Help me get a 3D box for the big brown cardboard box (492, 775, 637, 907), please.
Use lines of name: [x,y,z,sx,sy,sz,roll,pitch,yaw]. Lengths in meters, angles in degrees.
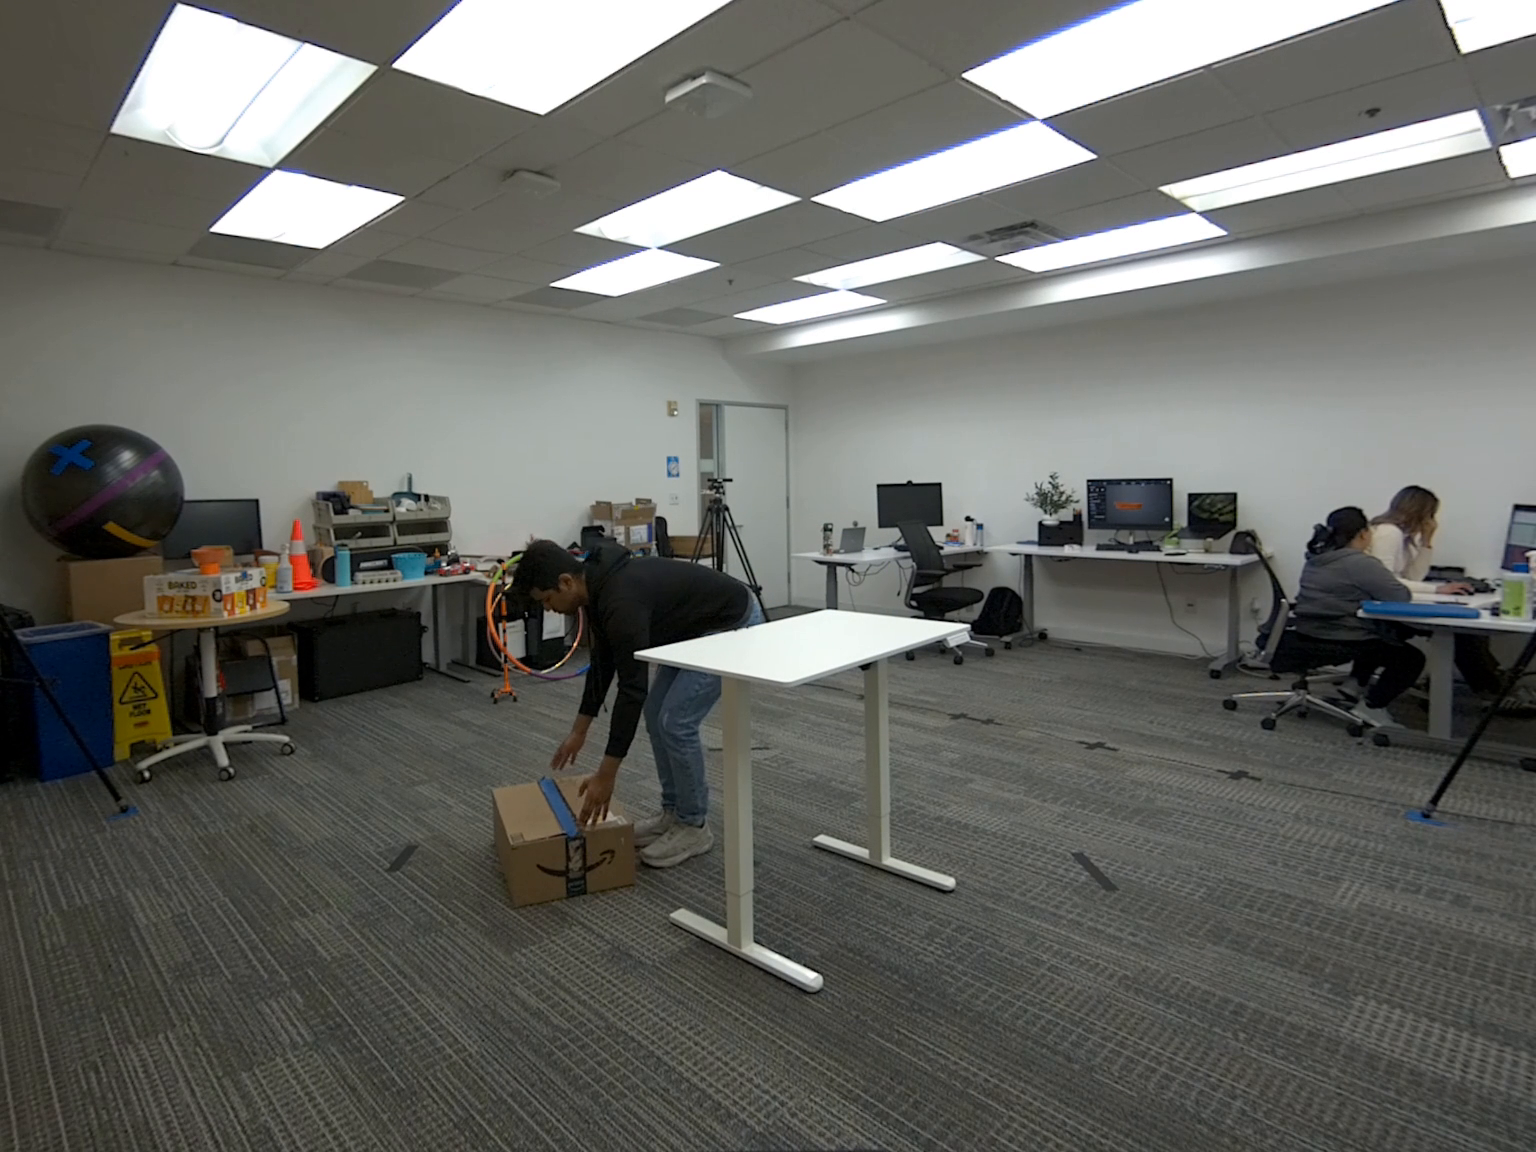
big brown cardboard box: [-0.755,0.932,3.126,0.409,0.232,0.603,-5,6,-23]
